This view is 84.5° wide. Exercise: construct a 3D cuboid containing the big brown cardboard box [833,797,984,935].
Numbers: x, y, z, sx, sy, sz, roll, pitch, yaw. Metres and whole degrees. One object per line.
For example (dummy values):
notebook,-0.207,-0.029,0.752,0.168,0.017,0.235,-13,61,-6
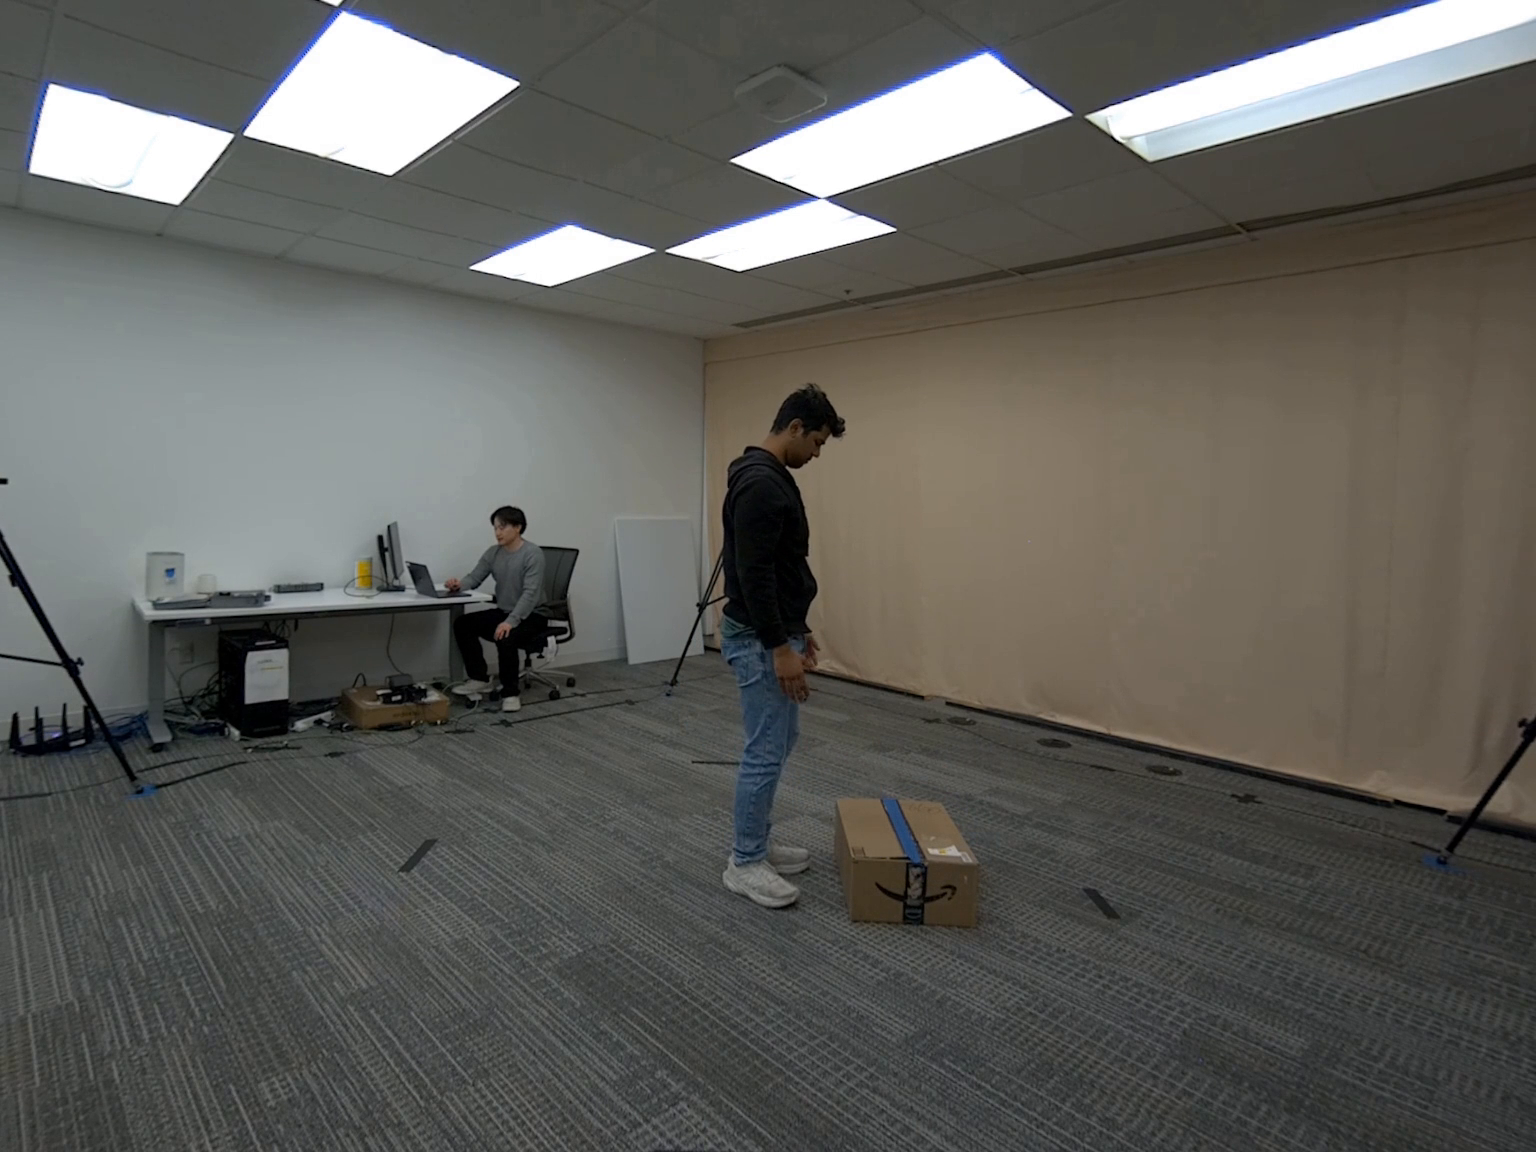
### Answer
big brown cardboard box,0.476,1.017,3.041,0.418,0.232,0.590,1,4,-1
